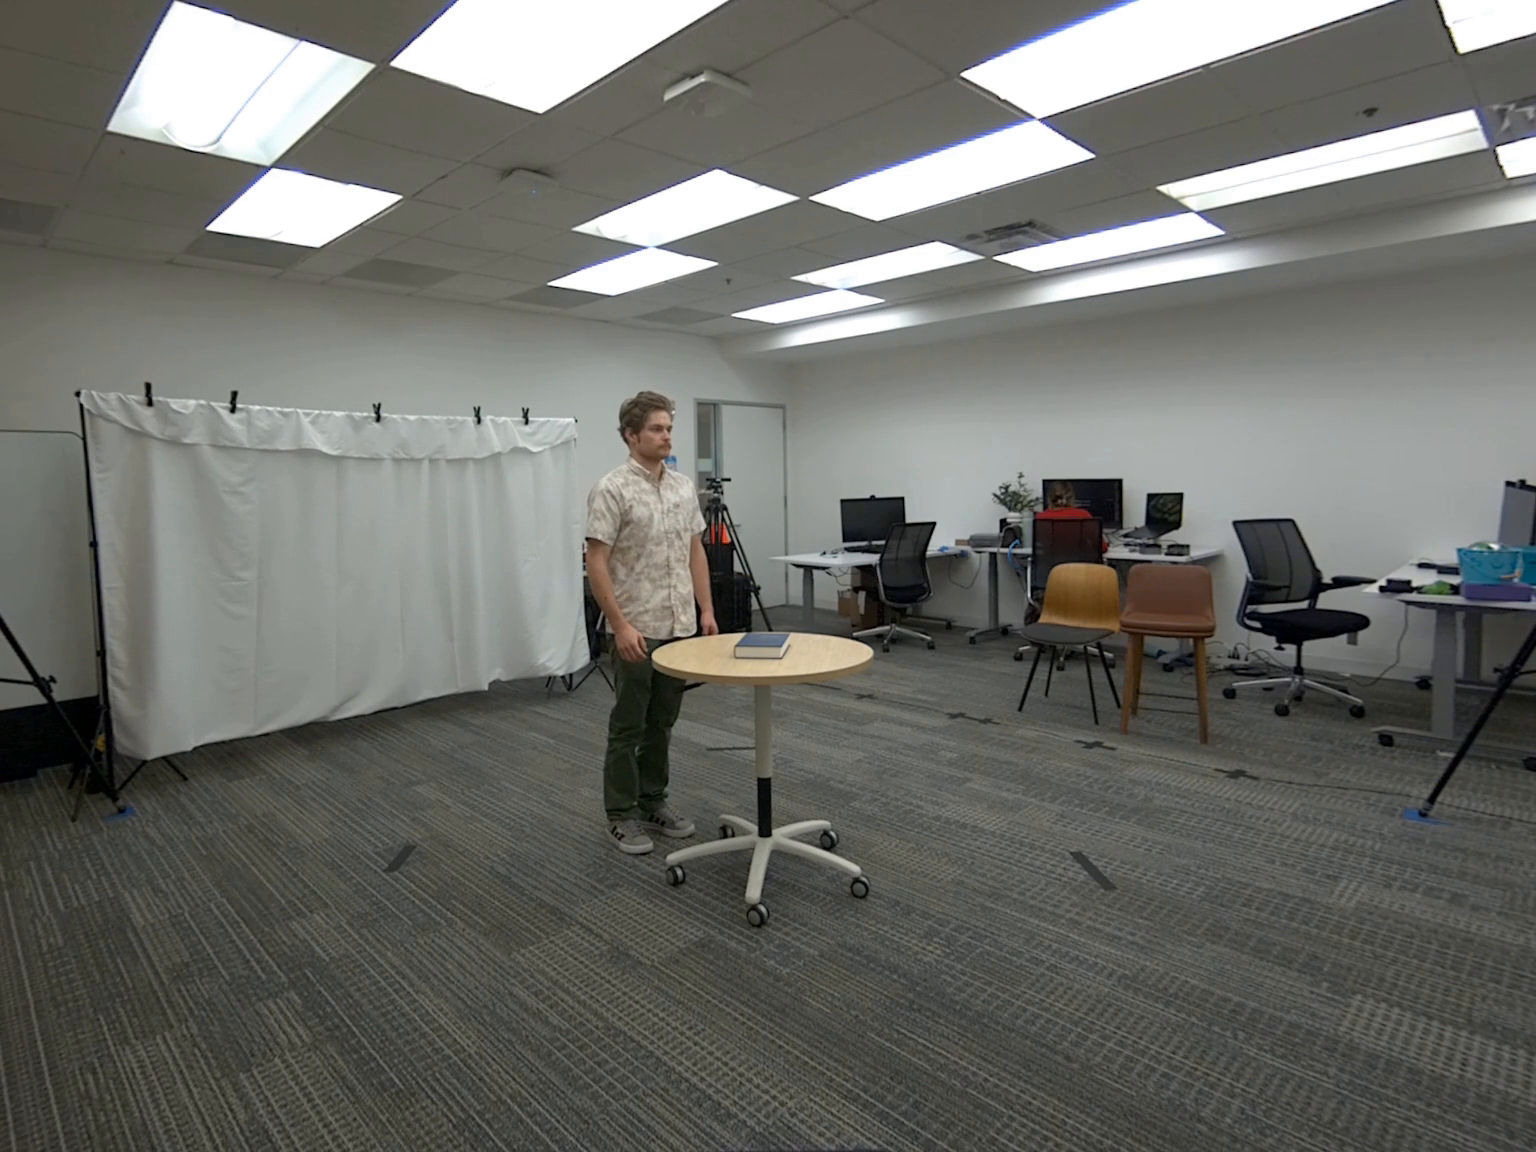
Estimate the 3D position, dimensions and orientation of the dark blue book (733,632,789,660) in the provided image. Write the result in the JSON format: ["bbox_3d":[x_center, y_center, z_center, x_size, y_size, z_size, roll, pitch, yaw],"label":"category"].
[{"bbox_3d":[-0.013,0.241,2.972,0.165,0.045,0.244,-1,6,7],"label":"dark blue book"}]
